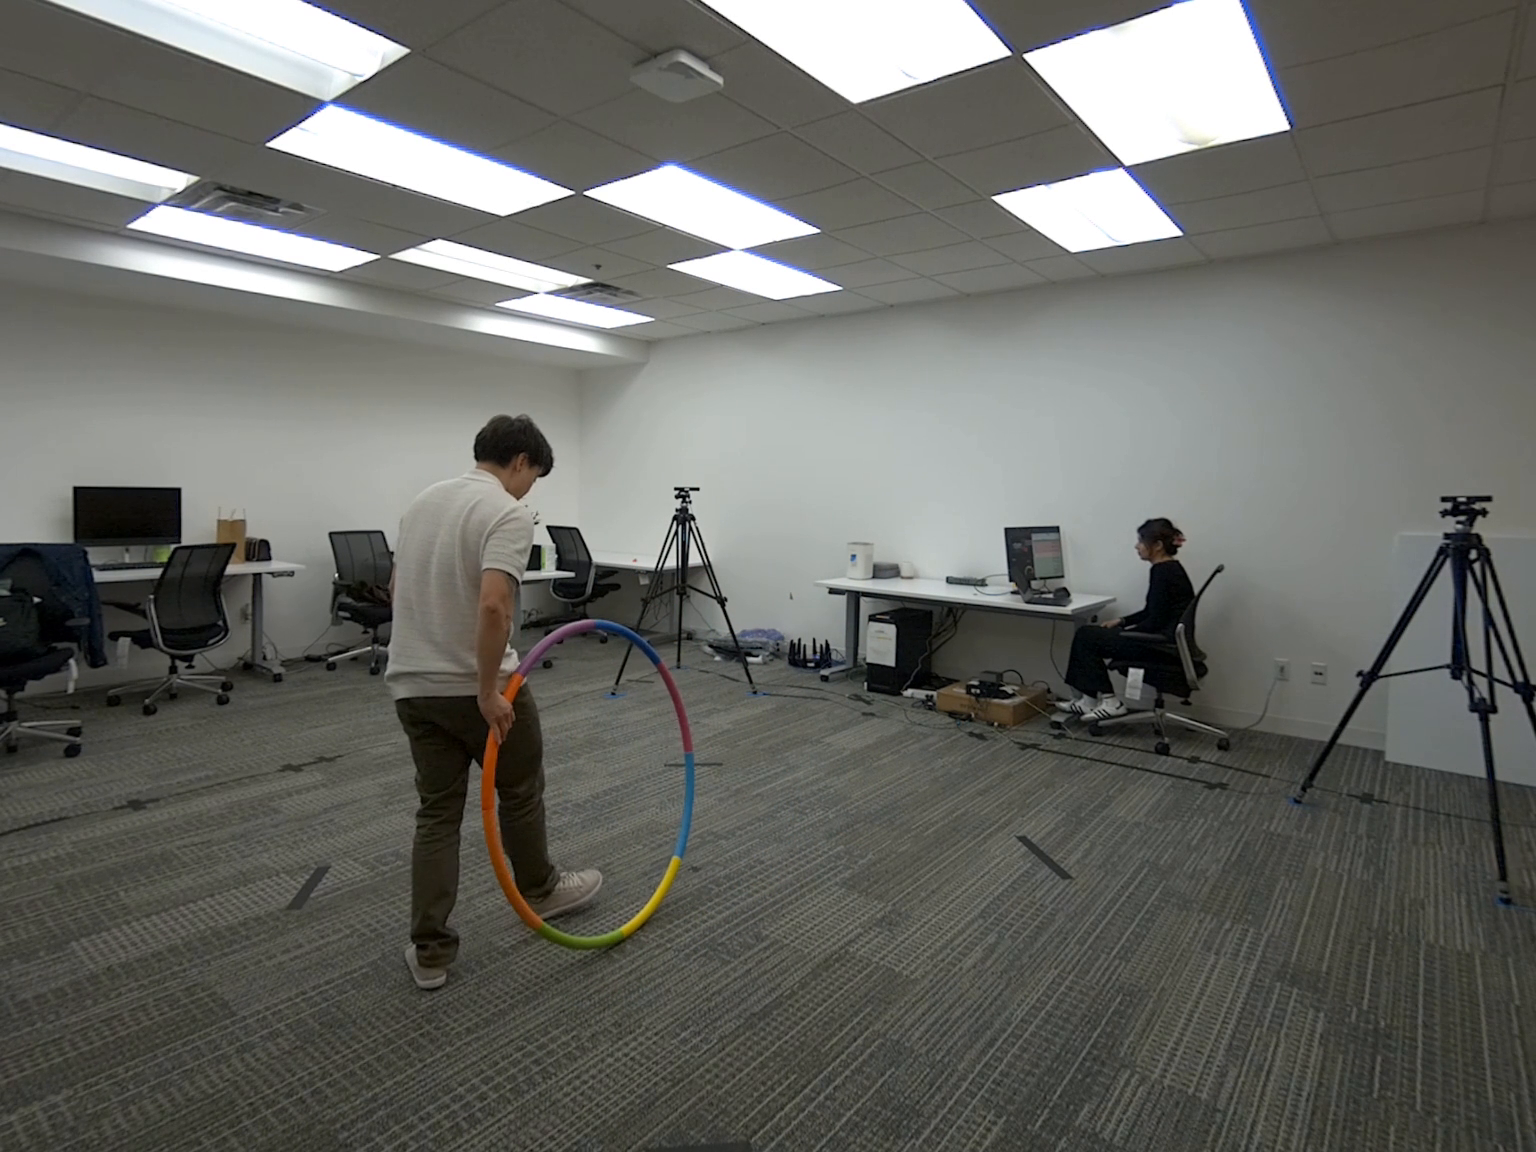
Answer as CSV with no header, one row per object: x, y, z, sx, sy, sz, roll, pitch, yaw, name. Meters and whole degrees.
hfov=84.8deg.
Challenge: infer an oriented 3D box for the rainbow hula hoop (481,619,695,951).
-0.512,0.630,2.673,0.036,0.982,0.954,-12,-3,28,rainbow hula hoop
